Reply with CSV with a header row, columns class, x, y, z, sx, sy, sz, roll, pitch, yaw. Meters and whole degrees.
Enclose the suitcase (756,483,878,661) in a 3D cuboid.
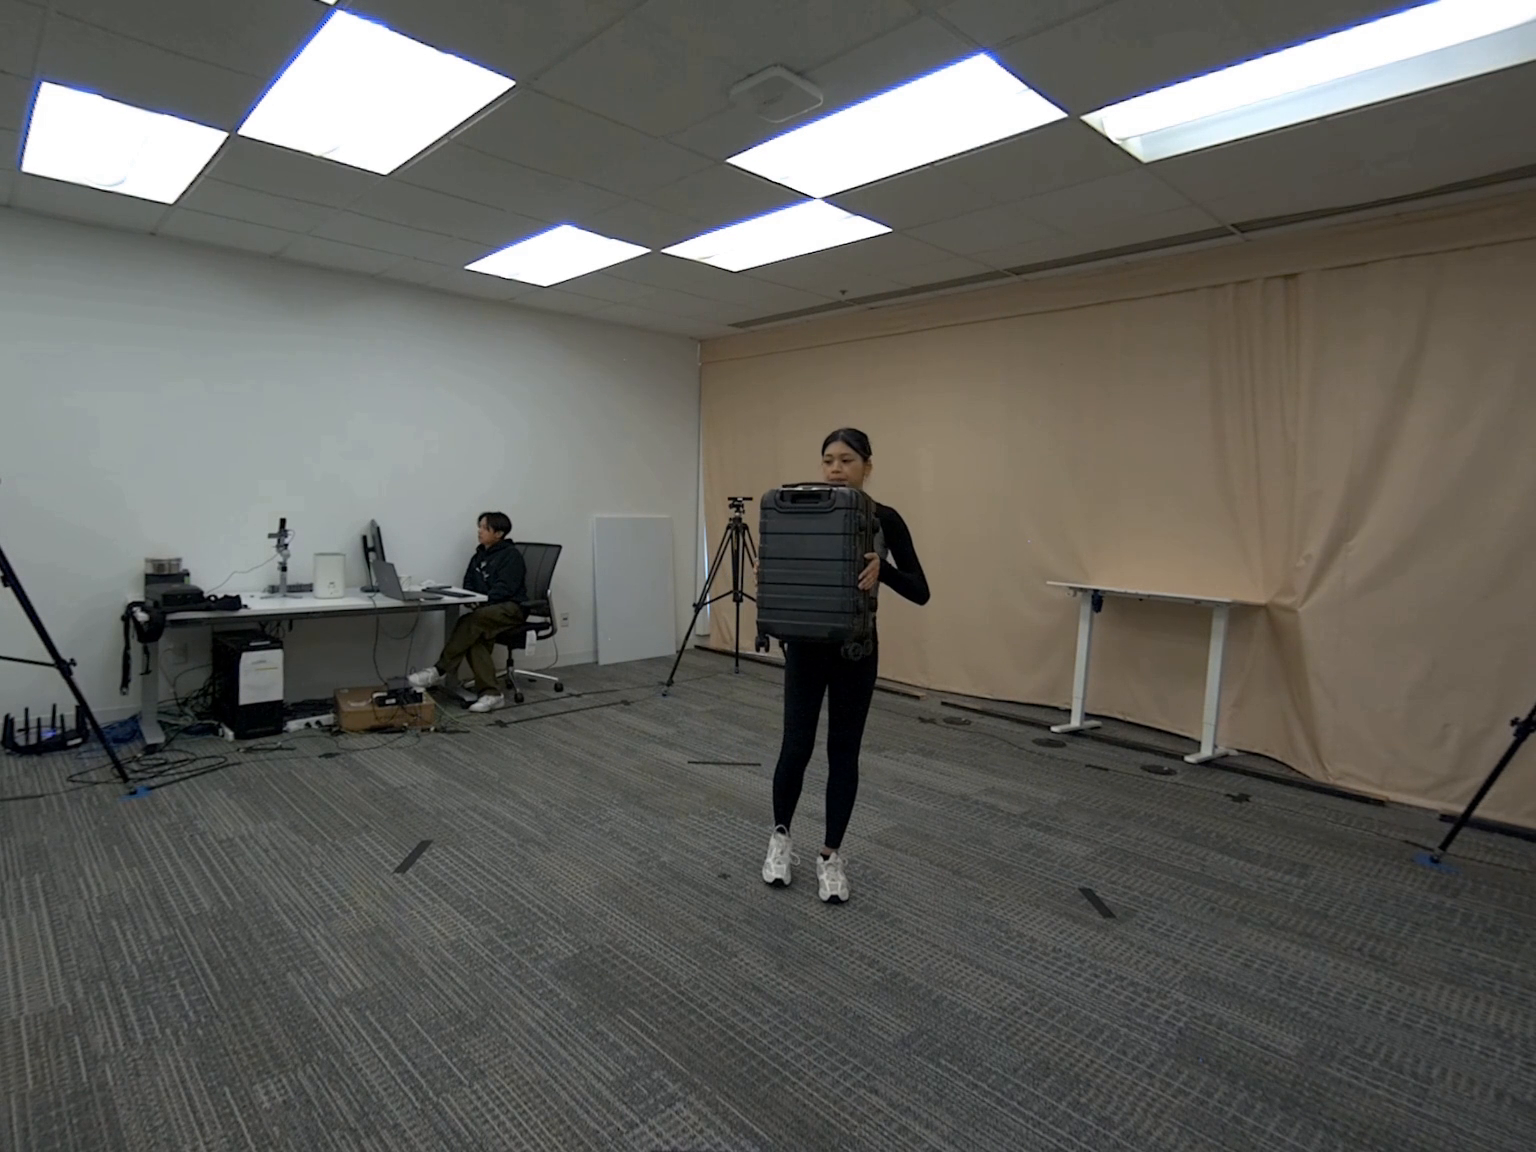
class,x,y,z,sx,sy,sz,roll,pitch,yaw
suitcase,0.150,-0.026,2.751,0.382,0.550,0.243,0,-2,26
